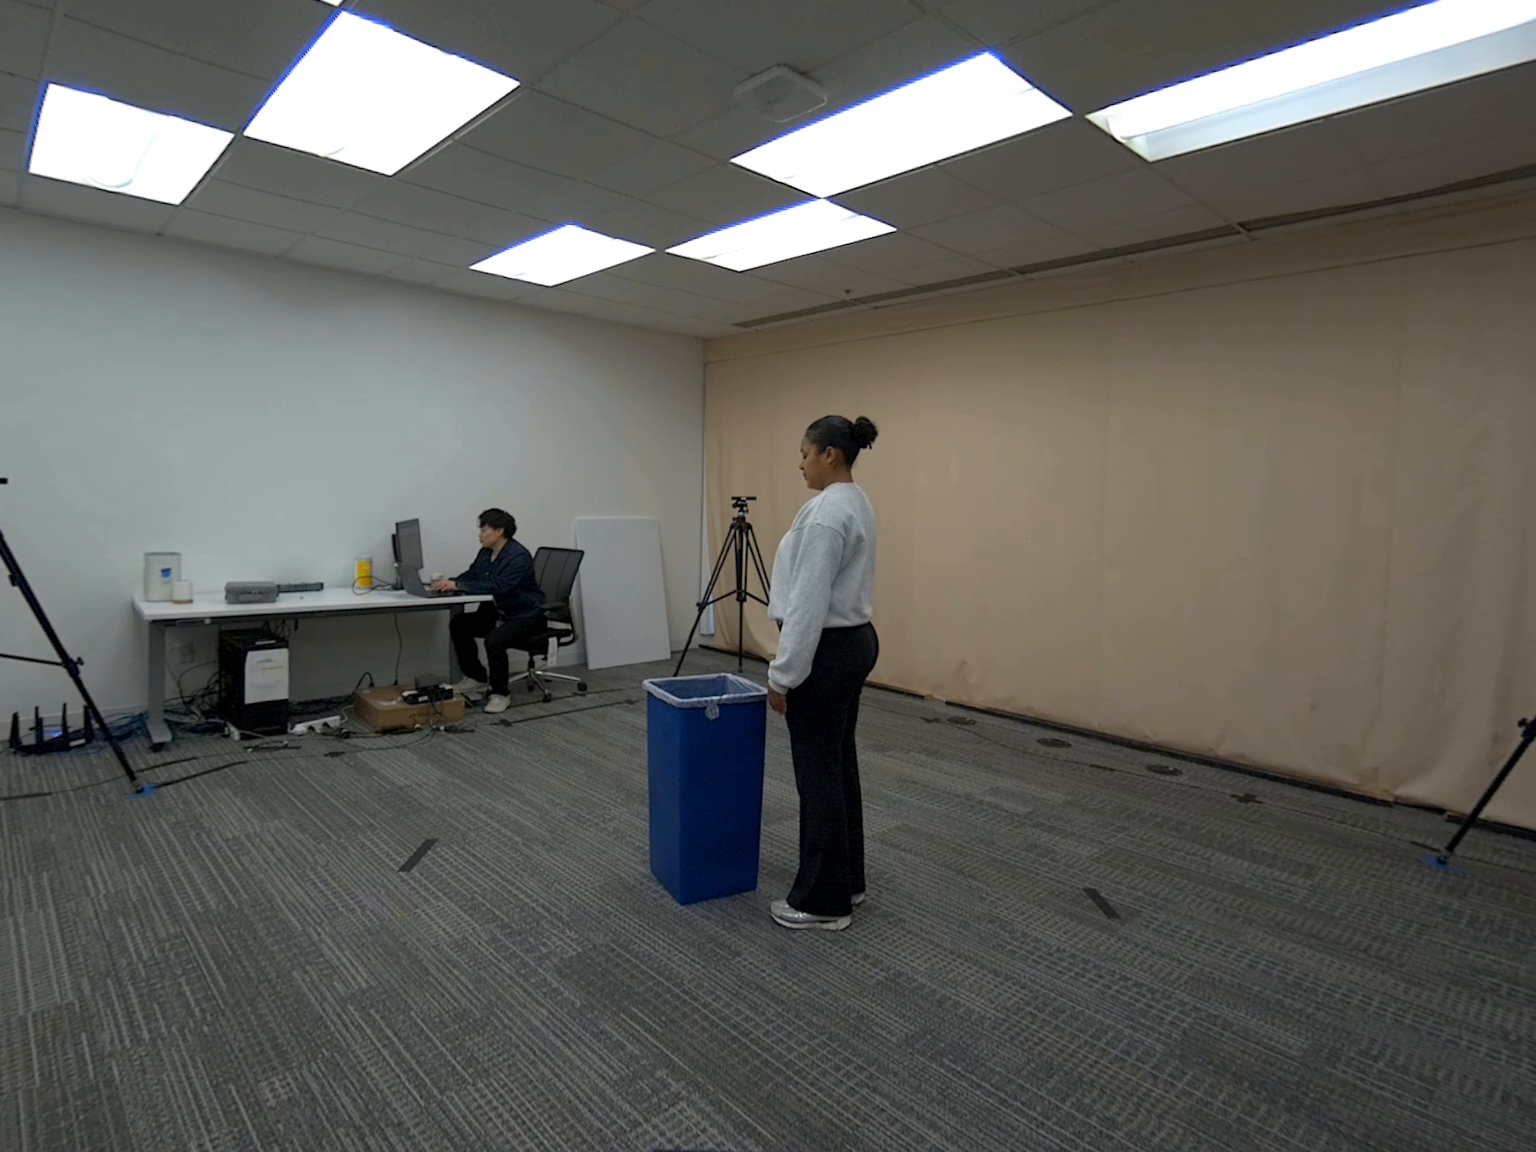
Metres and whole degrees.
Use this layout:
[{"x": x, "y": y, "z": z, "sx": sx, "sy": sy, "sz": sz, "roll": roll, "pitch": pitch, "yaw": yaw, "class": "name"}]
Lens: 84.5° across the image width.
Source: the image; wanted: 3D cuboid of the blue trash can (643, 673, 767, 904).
[{"x": -0.231, "y": 0.752, "z": 3.057, "sx": 0.366, "sy": 0.712, "sz": 0.386, "roll": -2, "pitch": 4, "yaw": -31, "class": "blue trash can"}]
